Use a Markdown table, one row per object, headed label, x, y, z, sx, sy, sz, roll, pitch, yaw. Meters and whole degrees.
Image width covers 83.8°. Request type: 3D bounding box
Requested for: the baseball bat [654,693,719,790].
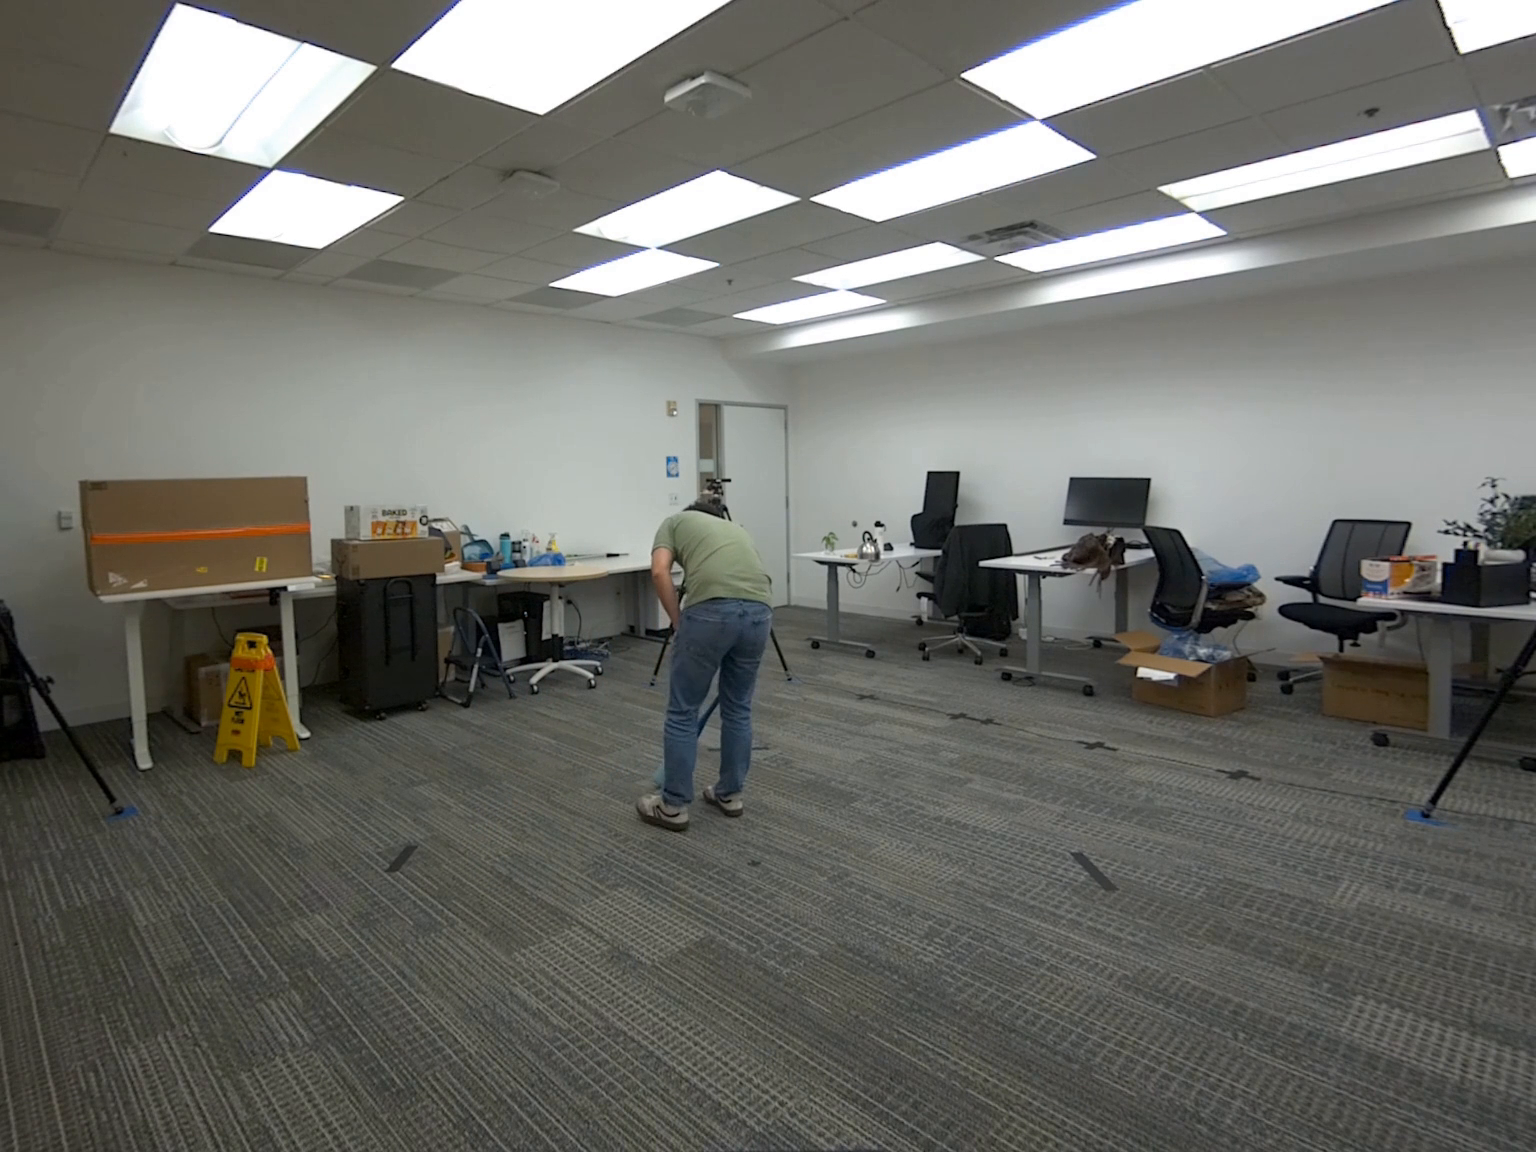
| label | x | y | z | sx | sy | sz | roll | pitch | yaw |
| --- | --- | --- | --- | --- | --- | --- | --- | --- | --- |
| baseball bat | -0.340 | 0.729 | 3.896 | 0.089 | 0.543 | 0.089 | 36 | 0 | -2 |
